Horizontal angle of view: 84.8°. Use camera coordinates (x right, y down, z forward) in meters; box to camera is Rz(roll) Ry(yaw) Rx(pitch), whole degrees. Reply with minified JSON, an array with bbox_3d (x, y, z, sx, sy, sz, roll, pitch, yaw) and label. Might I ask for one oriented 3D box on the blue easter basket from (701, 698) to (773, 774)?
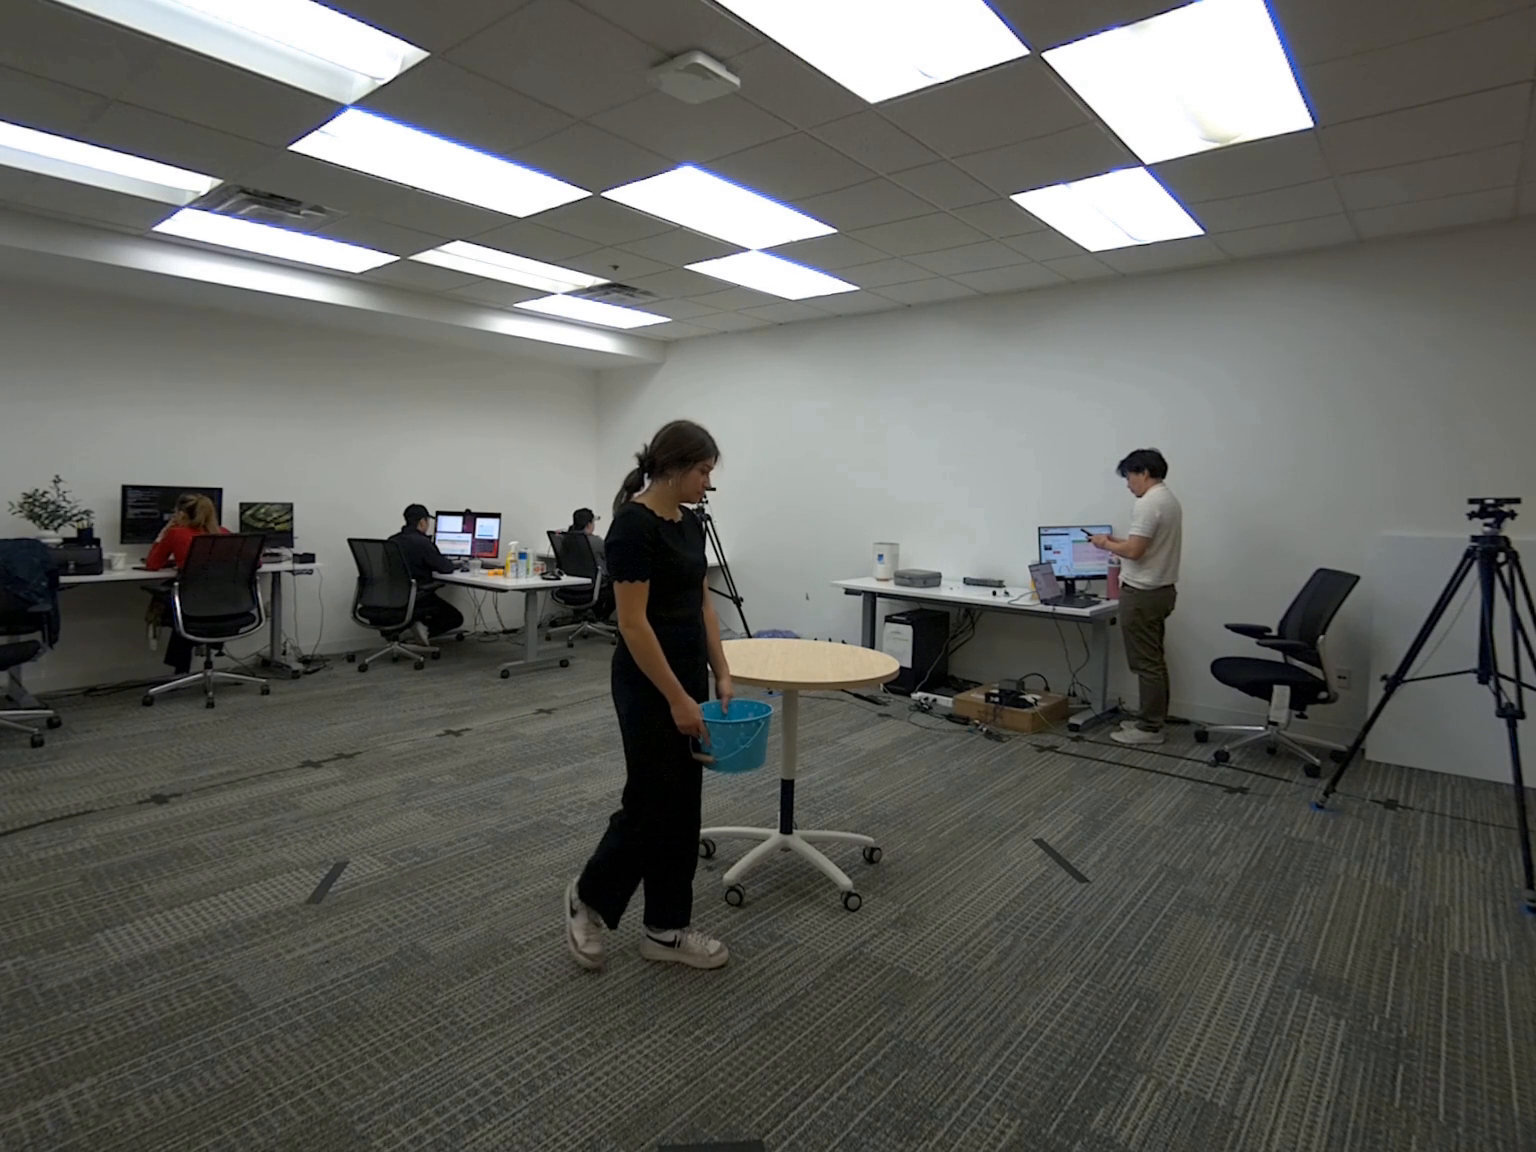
[{"bbox_3d":[-0.137,0.461,2.408,0.243,0.155,0.245,-1,6,-2],"label":"blue easter basket"}]
